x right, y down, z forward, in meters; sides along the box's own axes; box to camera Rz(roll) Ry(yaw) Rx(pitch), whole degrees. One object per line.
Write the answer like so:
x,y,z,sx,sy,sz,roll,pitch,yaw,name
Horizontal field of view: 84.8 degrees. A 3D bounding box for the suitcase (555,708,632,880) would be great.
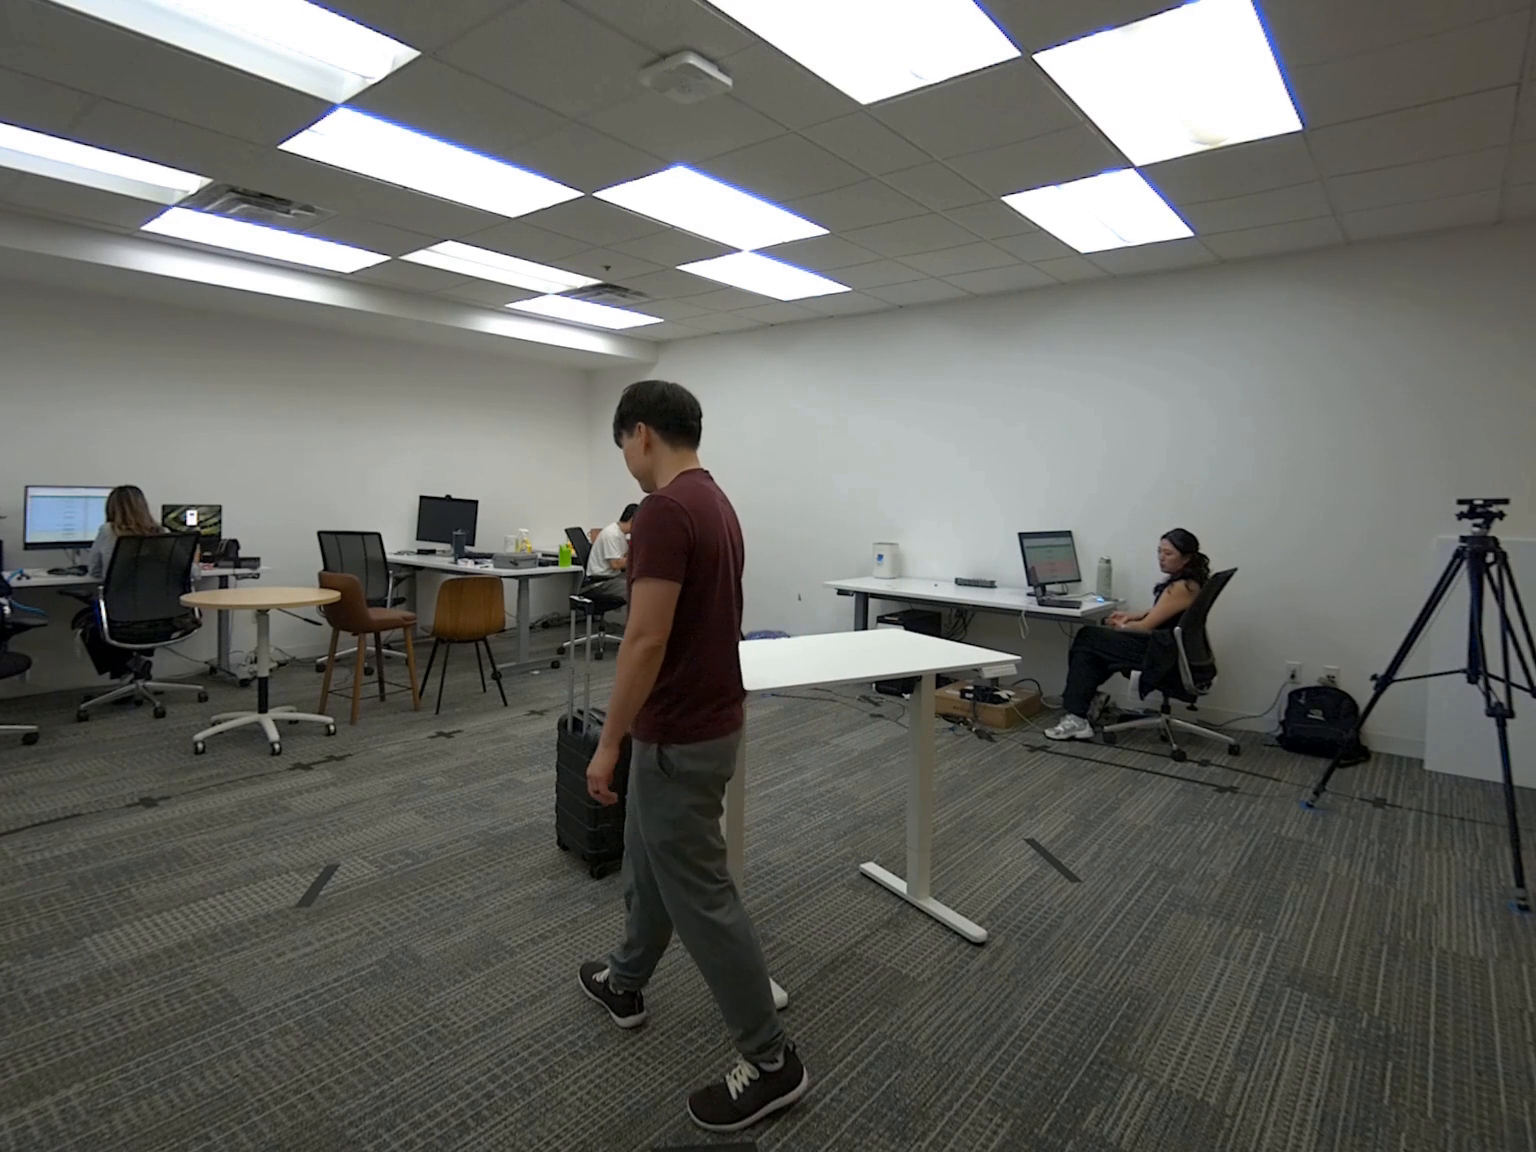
-0.626,0.577,3.172,0.250,0.976,0.396,1,3,-32,suitcase
